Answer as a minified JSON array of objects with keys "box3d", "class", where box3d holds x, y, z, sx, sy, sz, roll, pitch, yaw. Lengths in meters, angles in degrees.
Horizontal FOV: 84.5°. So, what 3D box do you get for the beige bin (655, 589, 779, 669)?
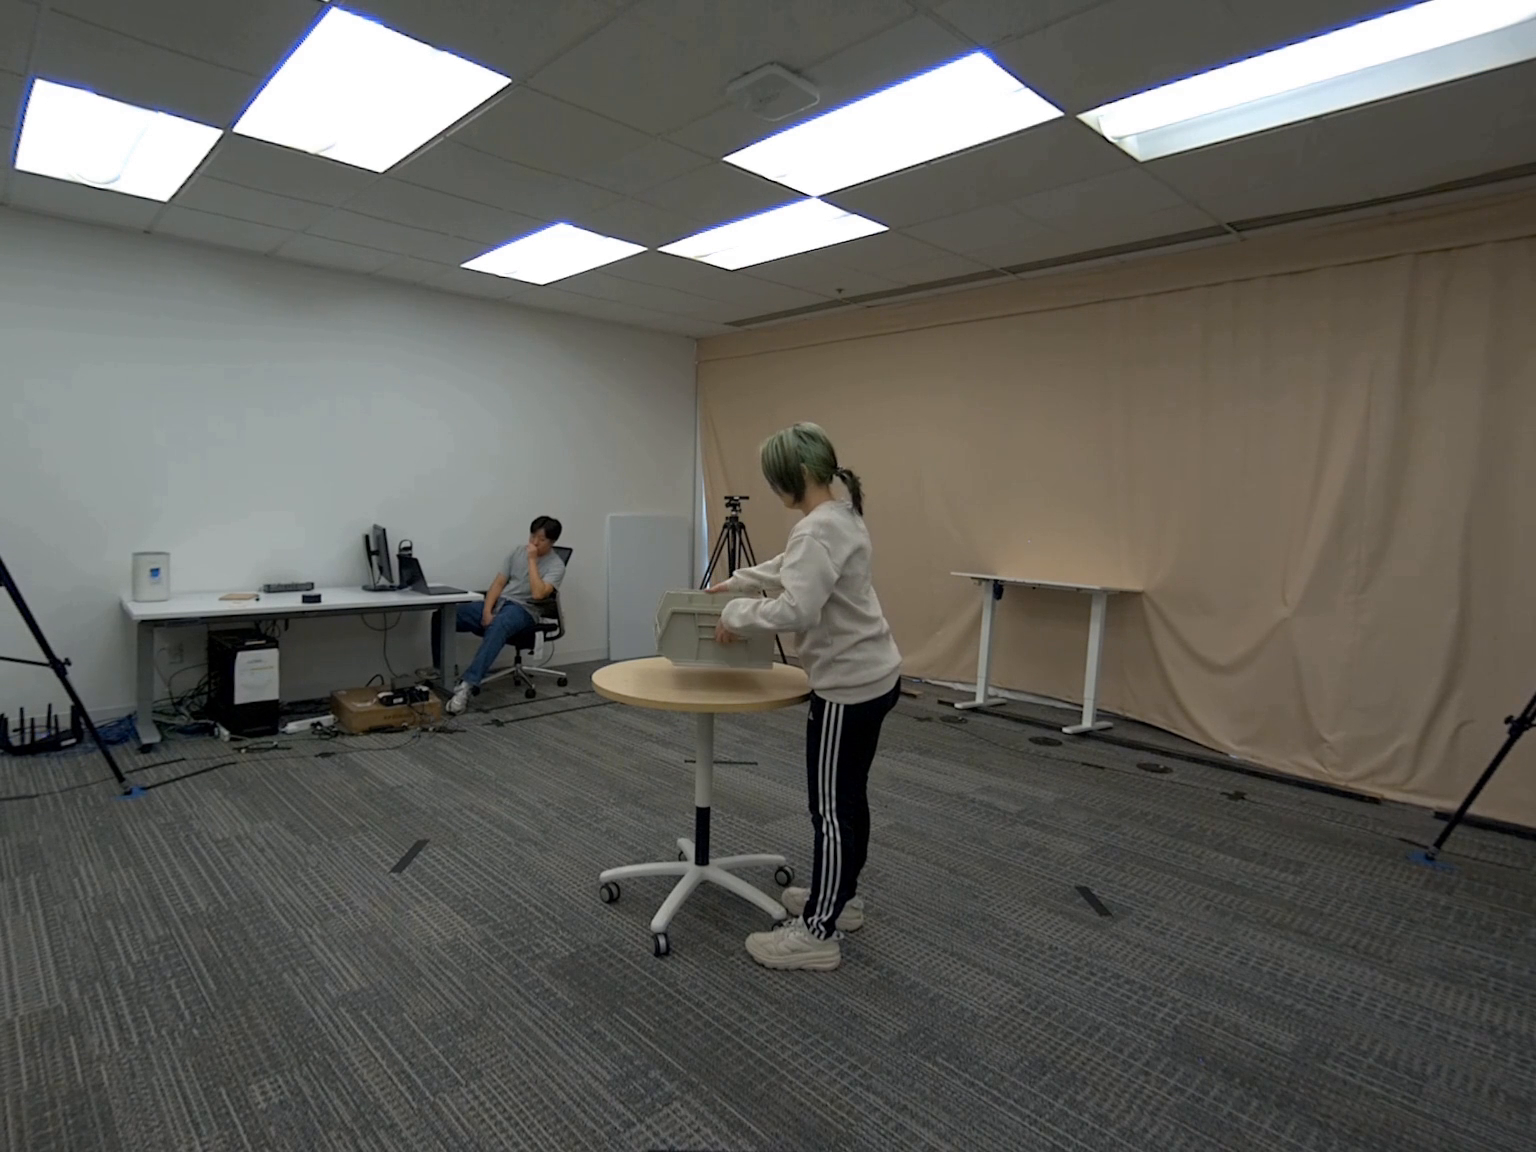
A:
[{"box3d":[-0.193,0.179,2.790,0.375,0.188,0.428,3,10,-9],"class":"beige bin"}]
